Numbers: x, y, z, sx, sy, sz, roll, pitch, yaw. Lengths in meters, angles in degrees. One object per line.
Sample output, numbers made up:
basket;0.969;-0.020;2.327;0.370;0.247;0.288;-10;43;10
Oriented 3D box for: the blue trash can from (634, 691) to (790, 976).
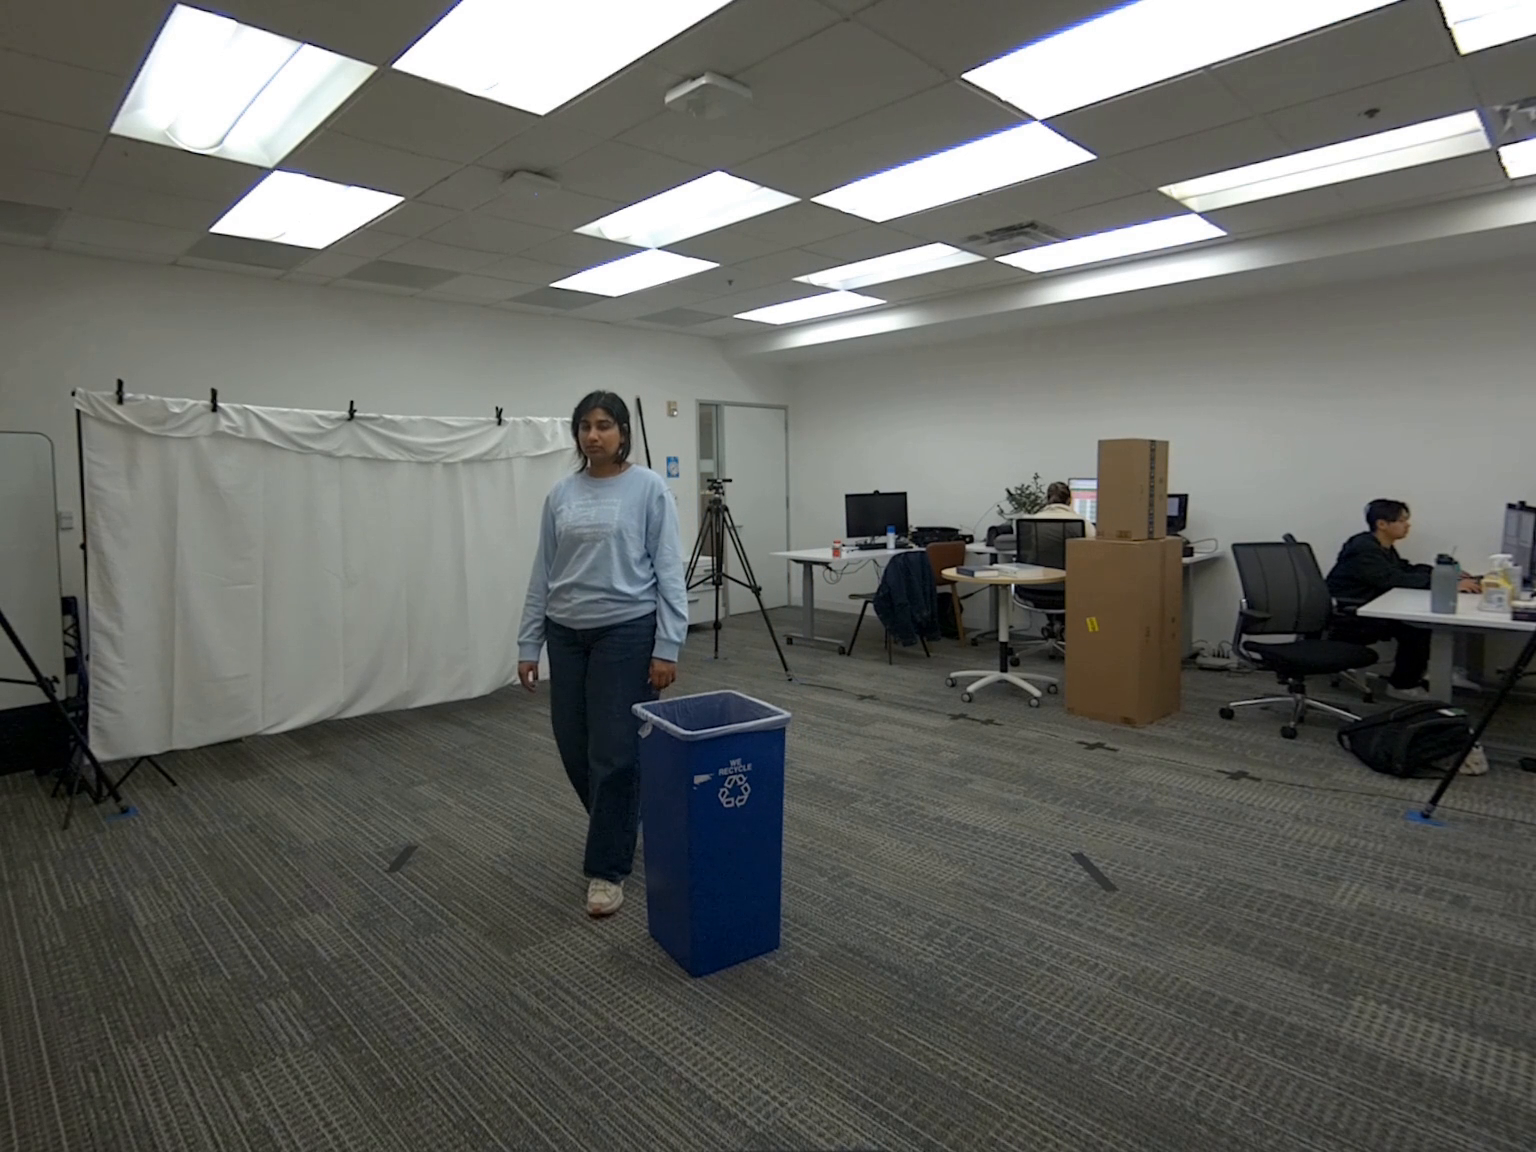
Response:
blue trash can;-0.160;0.754;2.578;0.365;0.710;0.389;-4;6;-33
